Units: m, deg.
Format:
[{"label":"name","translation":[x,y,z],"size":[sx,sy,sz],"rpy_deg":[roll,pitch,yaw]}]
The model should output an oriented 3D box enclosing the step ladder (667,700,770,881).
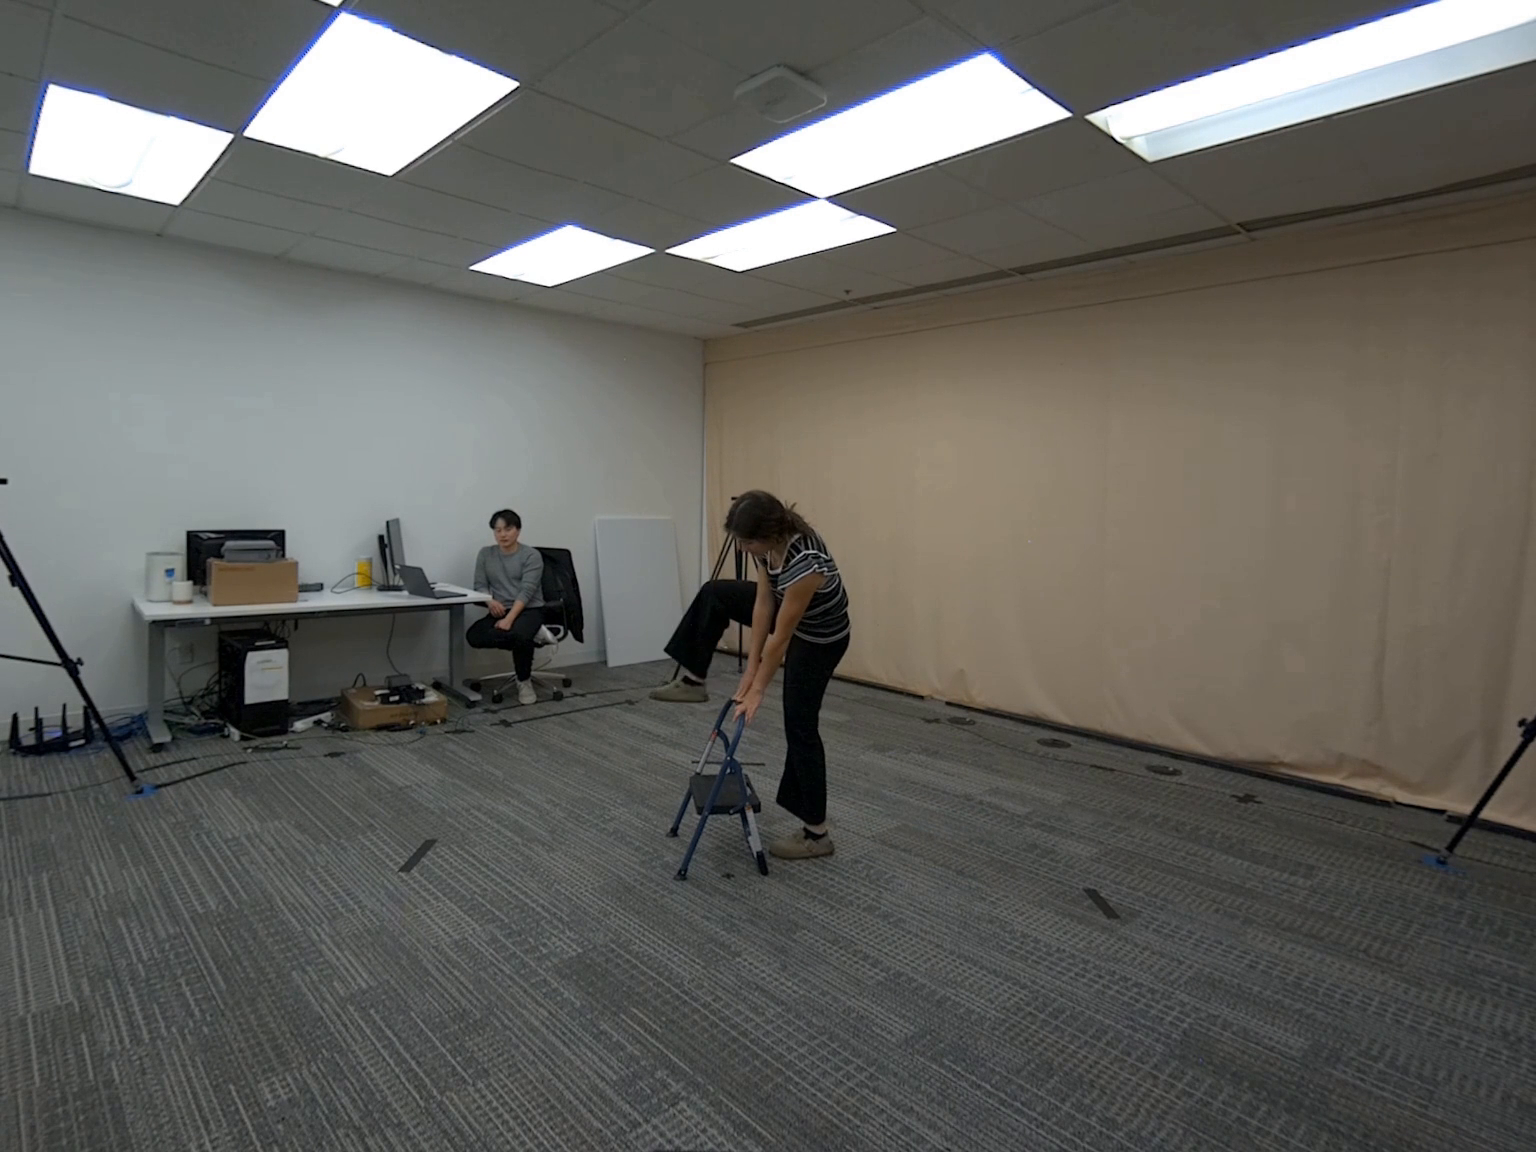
[{"label":"step ladder","translation":[-0.199,0.789,3.273],"size":[0.346,0.604,0.435],"rpy_deg":[1,4,-10]}]
